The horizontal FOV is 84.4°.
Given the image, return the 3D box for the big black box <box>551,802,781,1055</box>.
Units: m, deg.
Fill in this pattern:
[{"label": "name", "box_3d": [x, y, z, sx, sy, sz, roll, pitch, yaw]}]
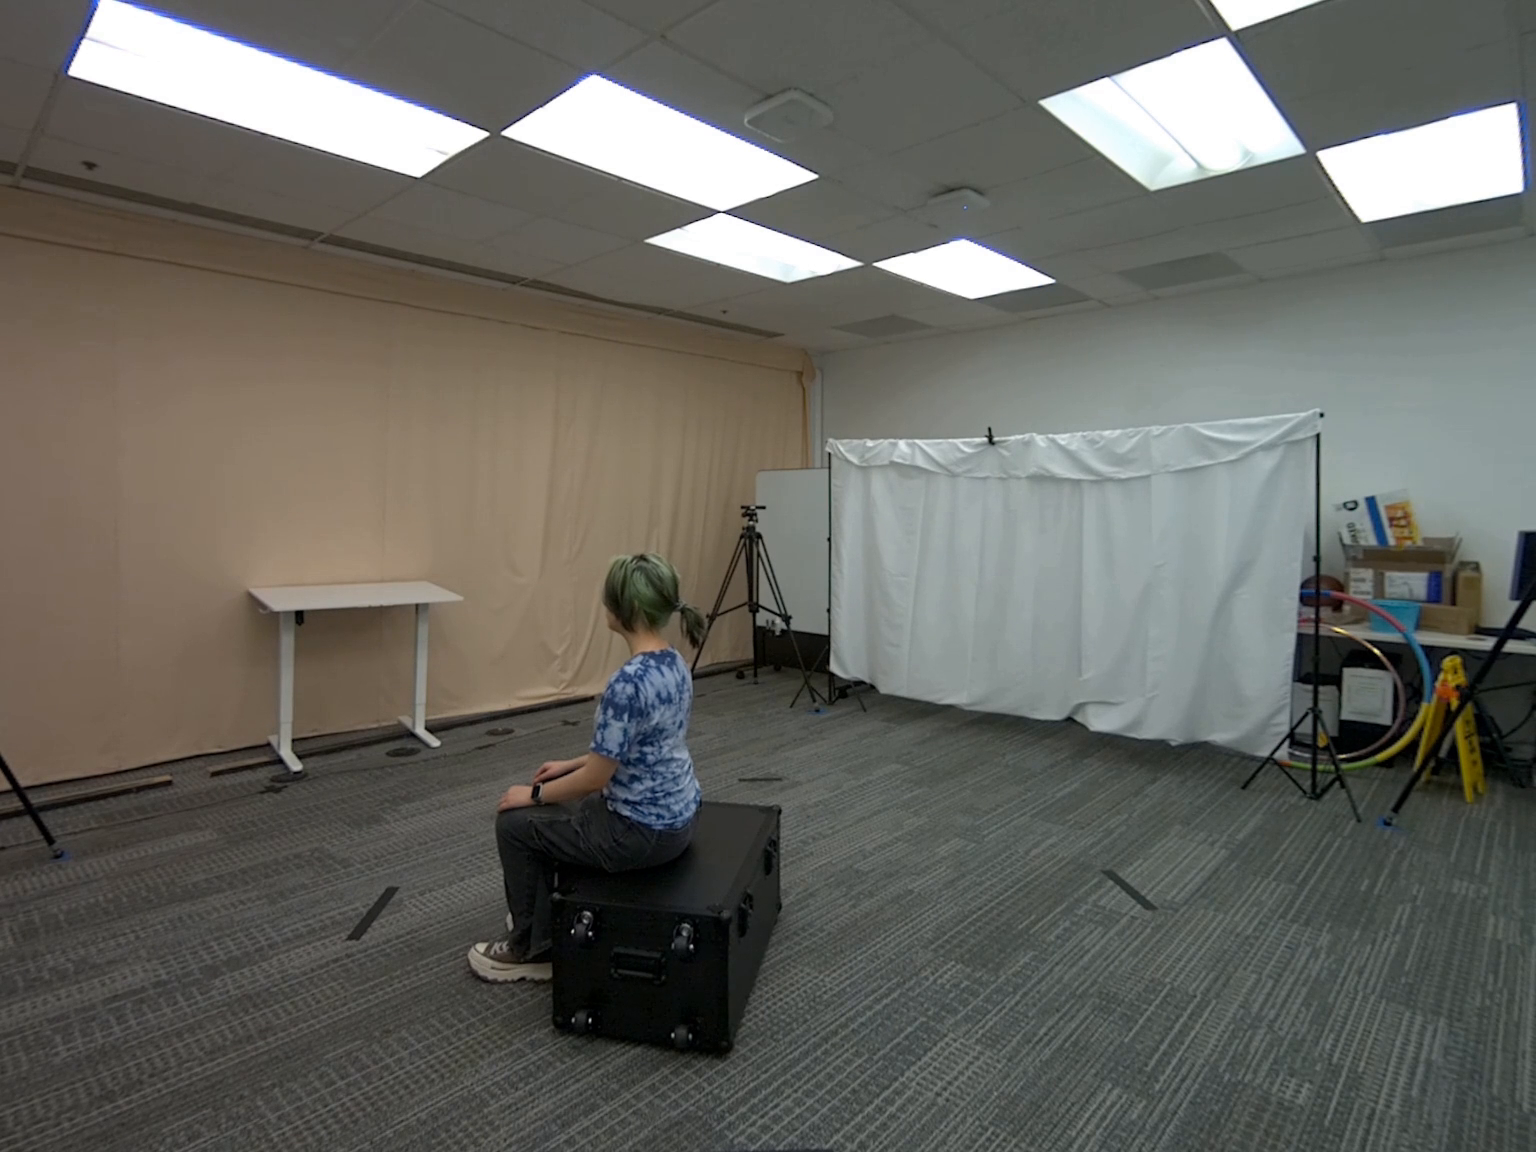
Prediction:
[{"label": "big black box", "box_3d": [-0.263, 0.997, 2.495, 0.528, 0.395, 0.852, 1, 4, 11]}]
